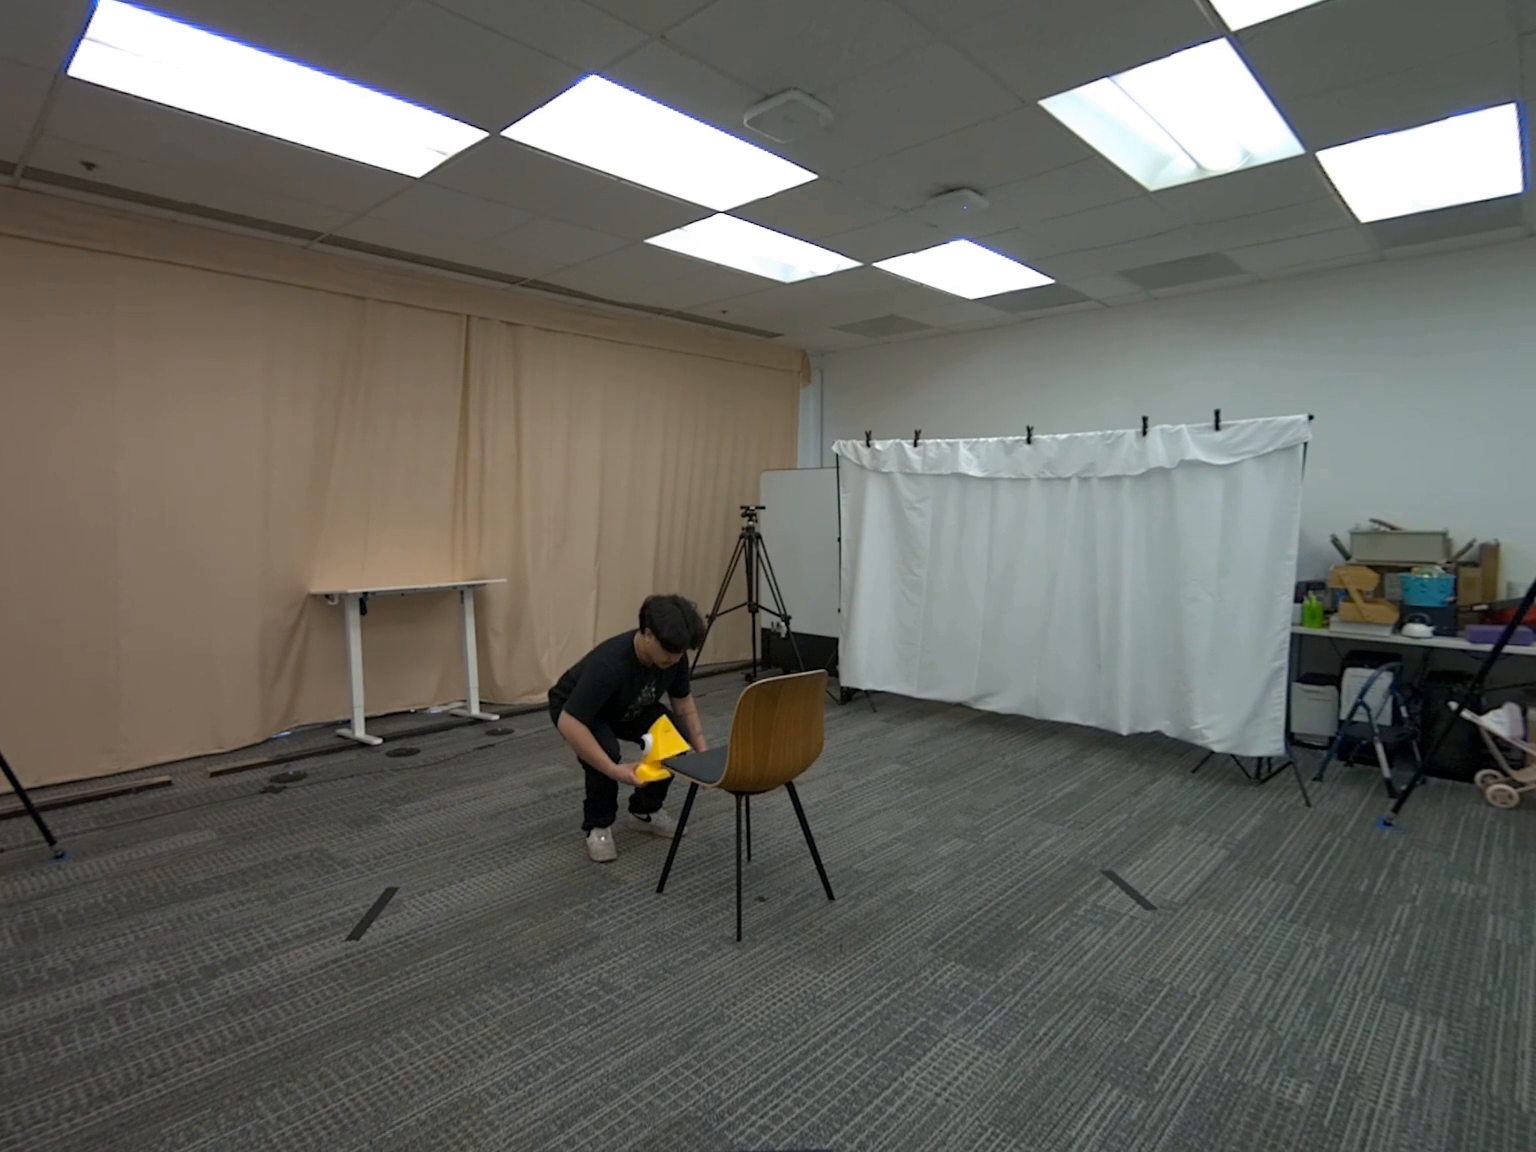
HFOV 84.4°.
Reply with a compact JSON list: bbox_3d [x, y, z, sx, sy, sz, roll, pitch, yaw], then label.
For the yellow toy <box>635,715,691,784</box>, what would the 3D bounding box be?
[{"bbox_3d":[-0.432,0.657,3.265,0.198,0.231,0.199,-12,-5,32],"label":"yellow toy"}]
